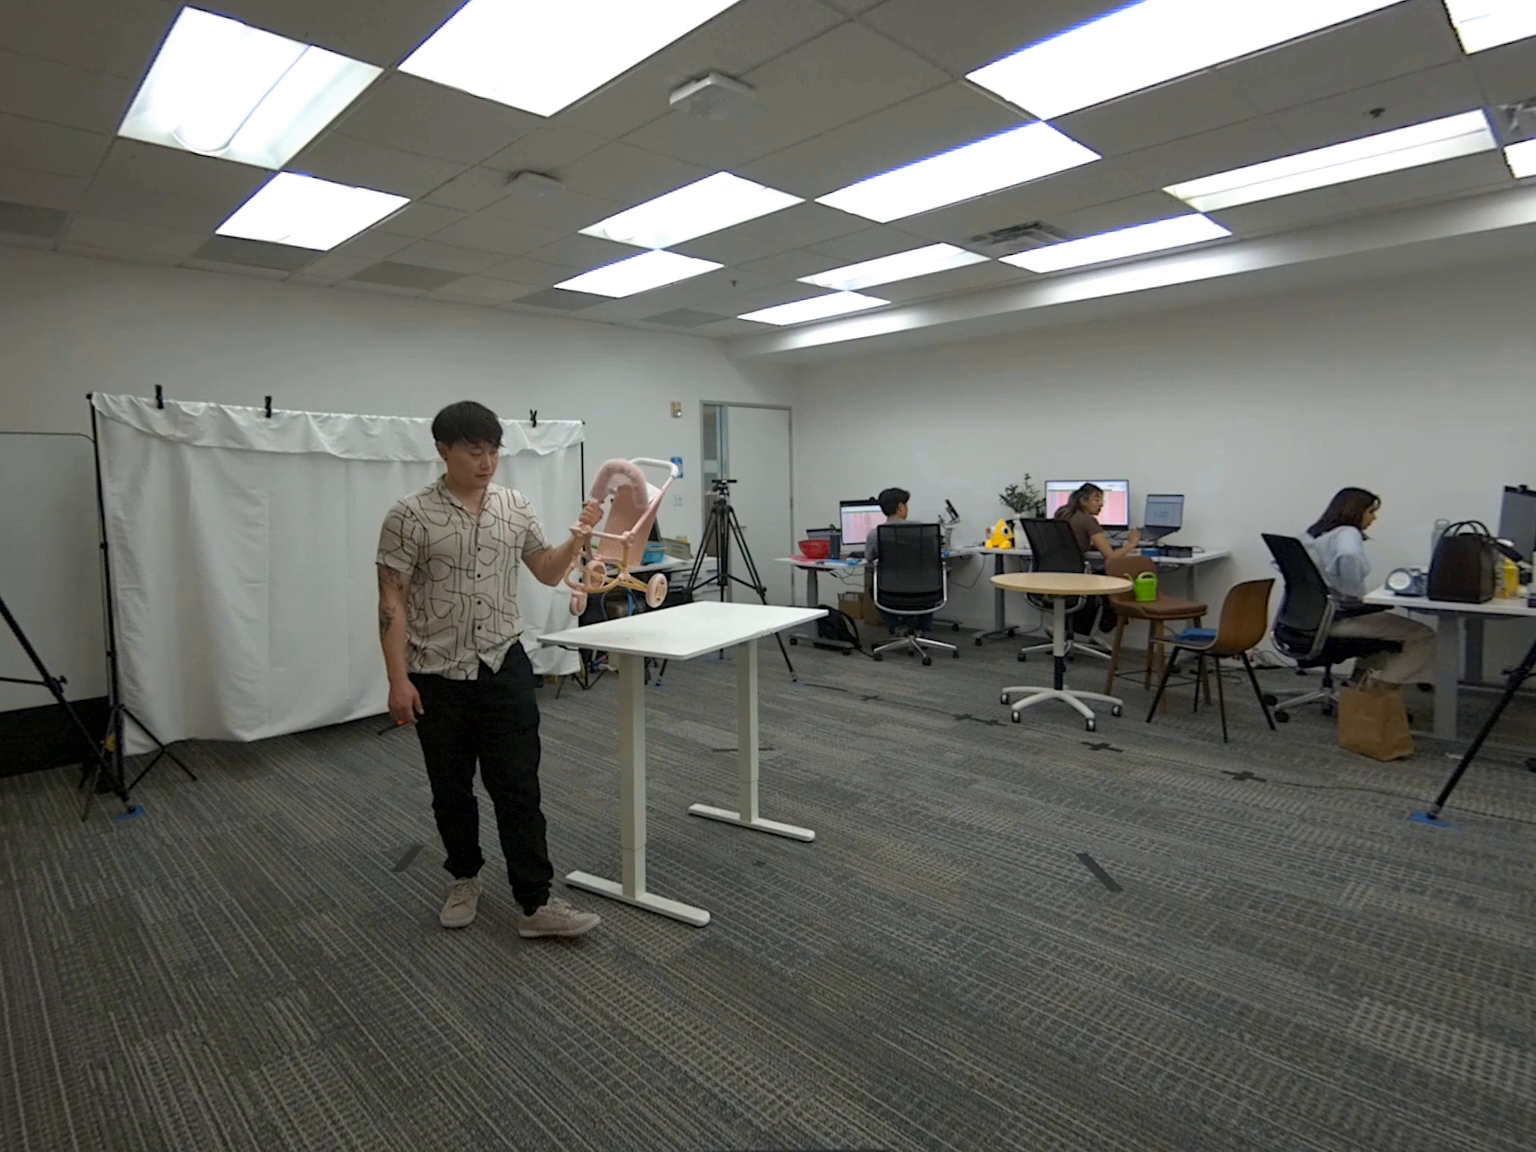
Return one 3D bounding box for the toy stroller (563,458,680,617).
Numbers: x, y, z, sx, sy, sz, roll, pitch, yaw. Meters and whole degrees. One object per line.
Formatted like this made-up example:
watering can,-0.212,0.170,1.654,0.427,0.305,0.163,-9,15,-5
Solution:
toy stroller,-0.486,-0.132,2.734,0.290,0.534,0.332,12,2,29
